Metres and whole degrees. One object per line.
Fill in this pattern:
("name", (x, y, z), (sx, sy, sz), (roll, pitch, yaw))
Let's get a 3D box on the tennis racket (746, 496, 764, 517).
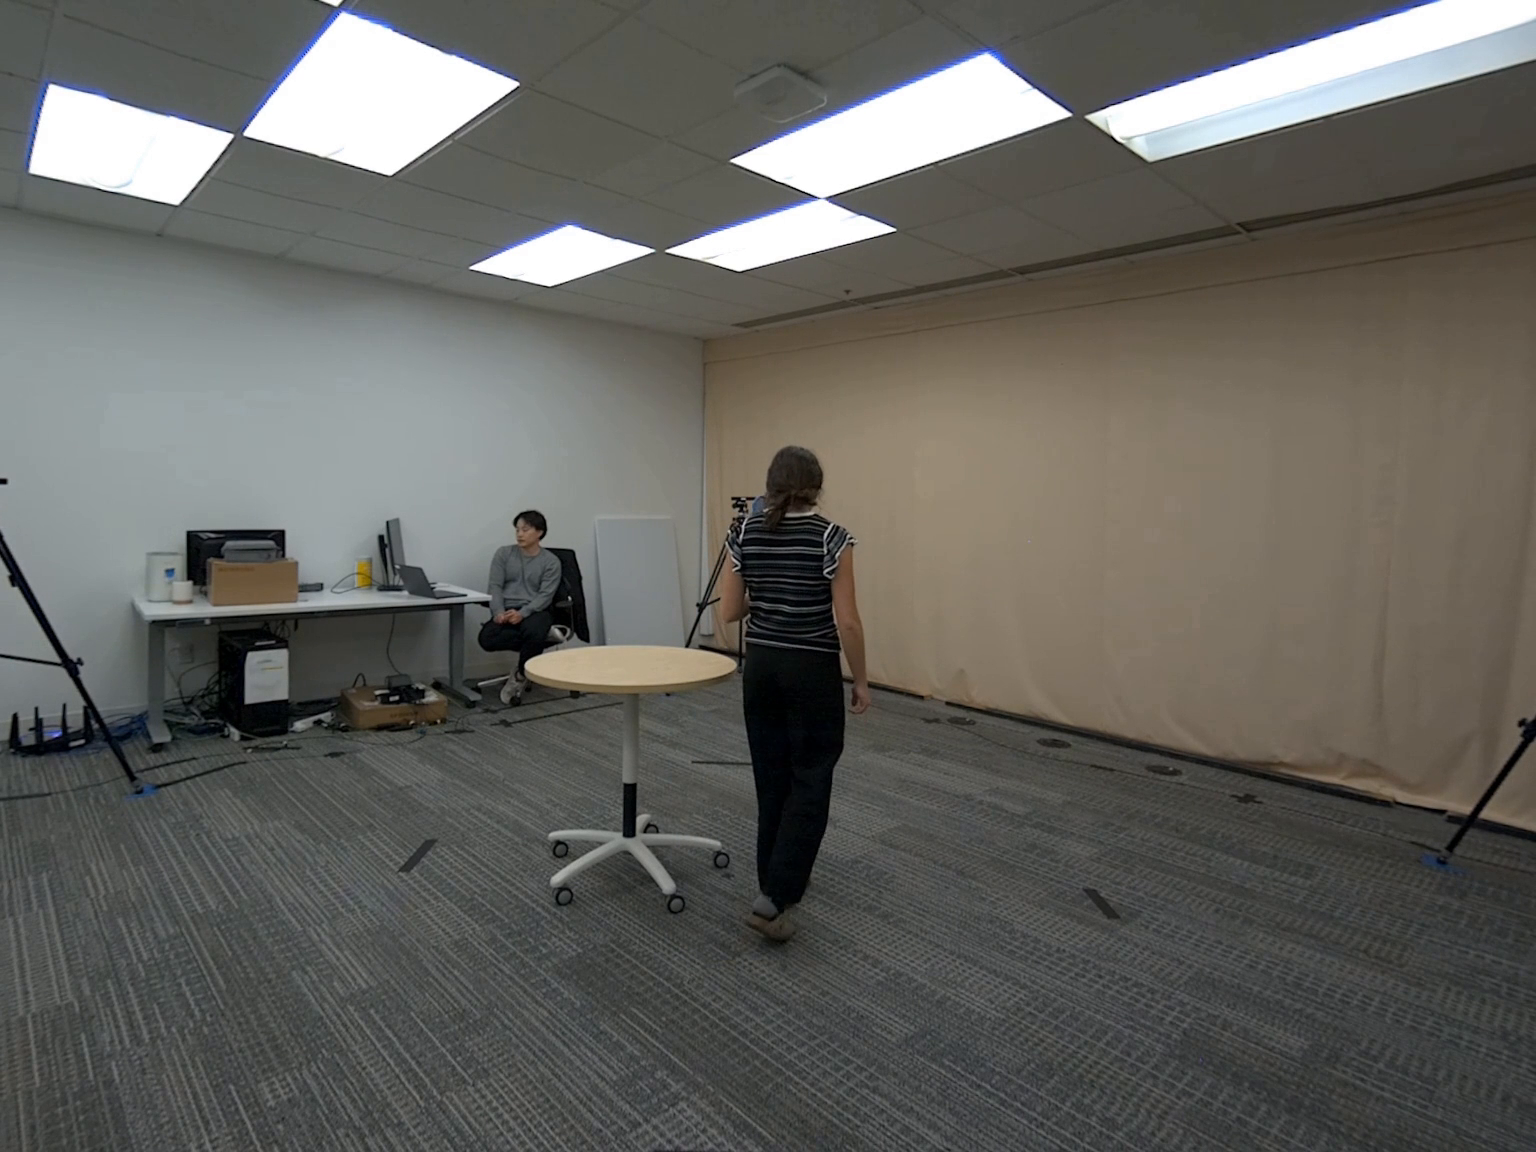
("tennis racket", (-0.007, -0.081, 3.096), (0.032, 0.437, 0.208), (-6, -16, 27))
